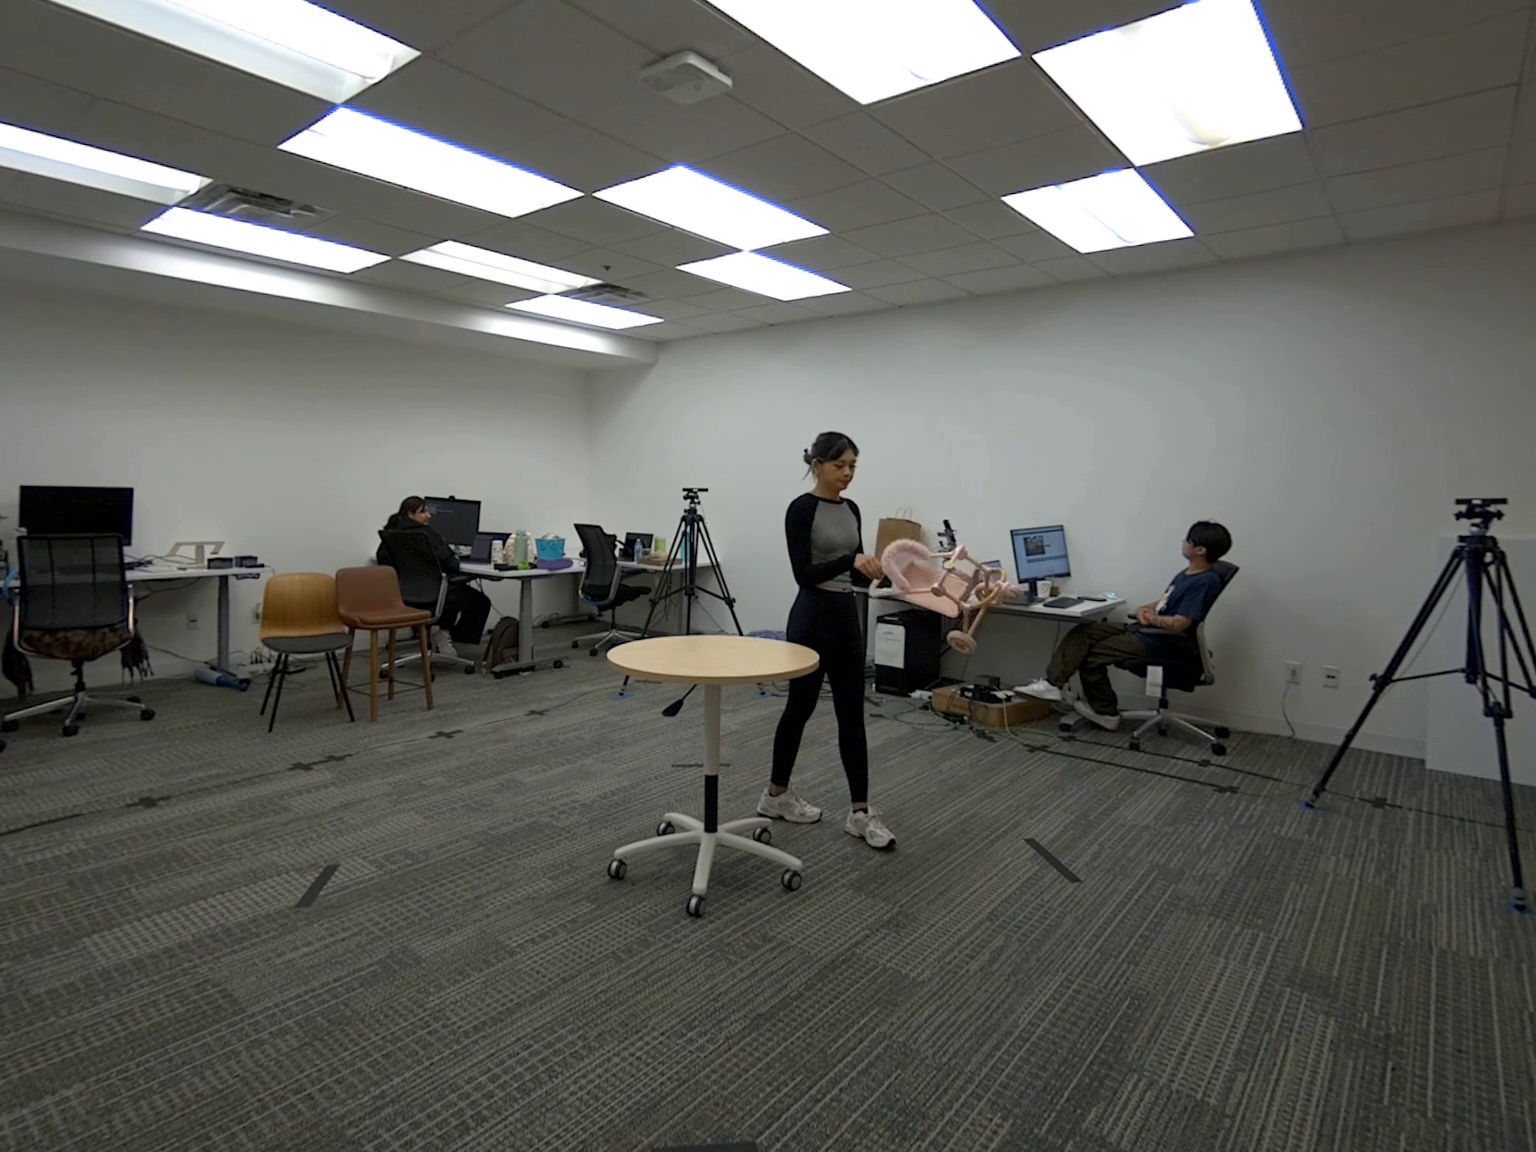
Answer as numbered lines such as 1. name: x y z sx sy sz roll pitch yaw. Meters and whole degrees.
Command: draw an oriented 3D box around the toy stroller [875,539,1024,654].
1. toy stroller: 0.631 0.024 3.090 0.550 0.282 0.331 28 -27 21
